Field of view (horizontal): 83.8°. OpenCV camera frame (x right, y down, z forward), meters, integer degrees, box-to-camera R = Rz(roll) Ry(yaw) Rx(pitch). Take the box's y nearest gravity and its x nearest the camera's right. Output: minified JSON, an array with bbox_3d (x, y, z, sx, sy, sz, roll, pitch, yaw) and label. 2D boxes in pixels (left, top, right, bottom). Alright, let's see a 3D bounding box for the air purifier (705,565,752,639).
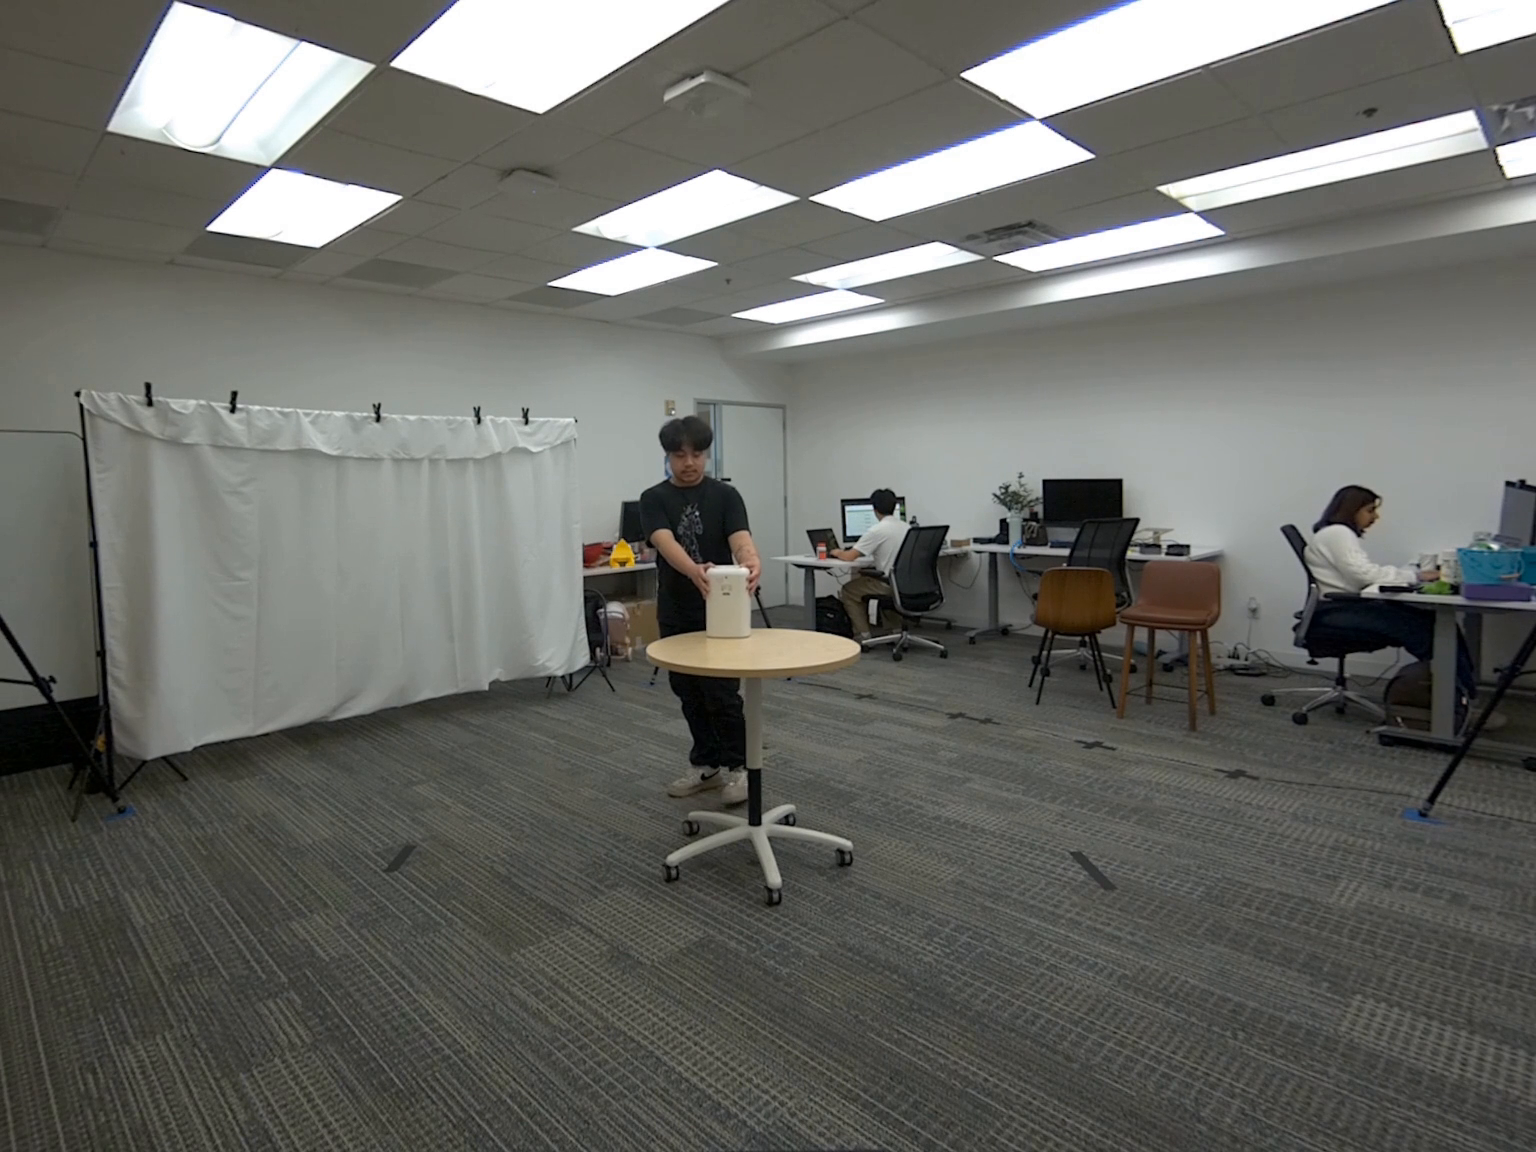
[{"bbox_3d":[-0.155,0.103,3.313,0.171,0.264,0.171,-2,3,3],"label":"air purifier"}]
